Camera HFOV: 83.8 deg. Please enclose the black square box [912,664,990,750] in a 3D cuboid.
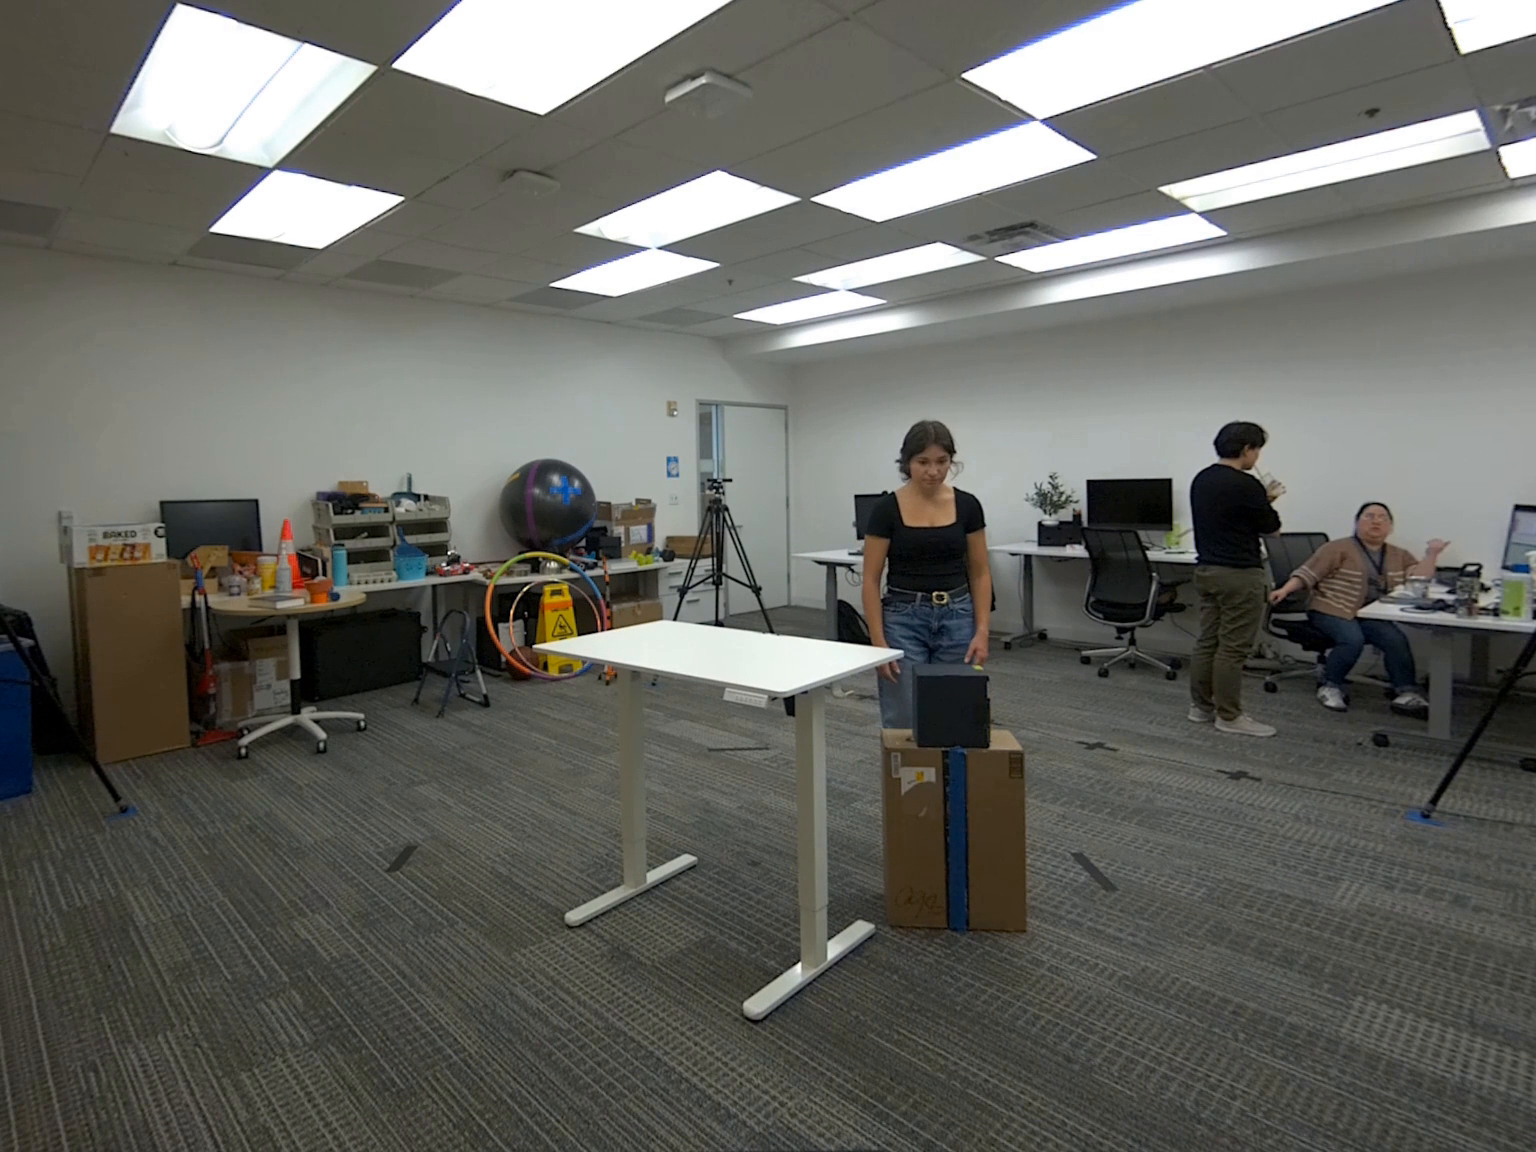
[{"bbox_3d":[0.558,0.397,2.667,0.218,0.227,0.156,2,5,4],"label":"black square box"}]
